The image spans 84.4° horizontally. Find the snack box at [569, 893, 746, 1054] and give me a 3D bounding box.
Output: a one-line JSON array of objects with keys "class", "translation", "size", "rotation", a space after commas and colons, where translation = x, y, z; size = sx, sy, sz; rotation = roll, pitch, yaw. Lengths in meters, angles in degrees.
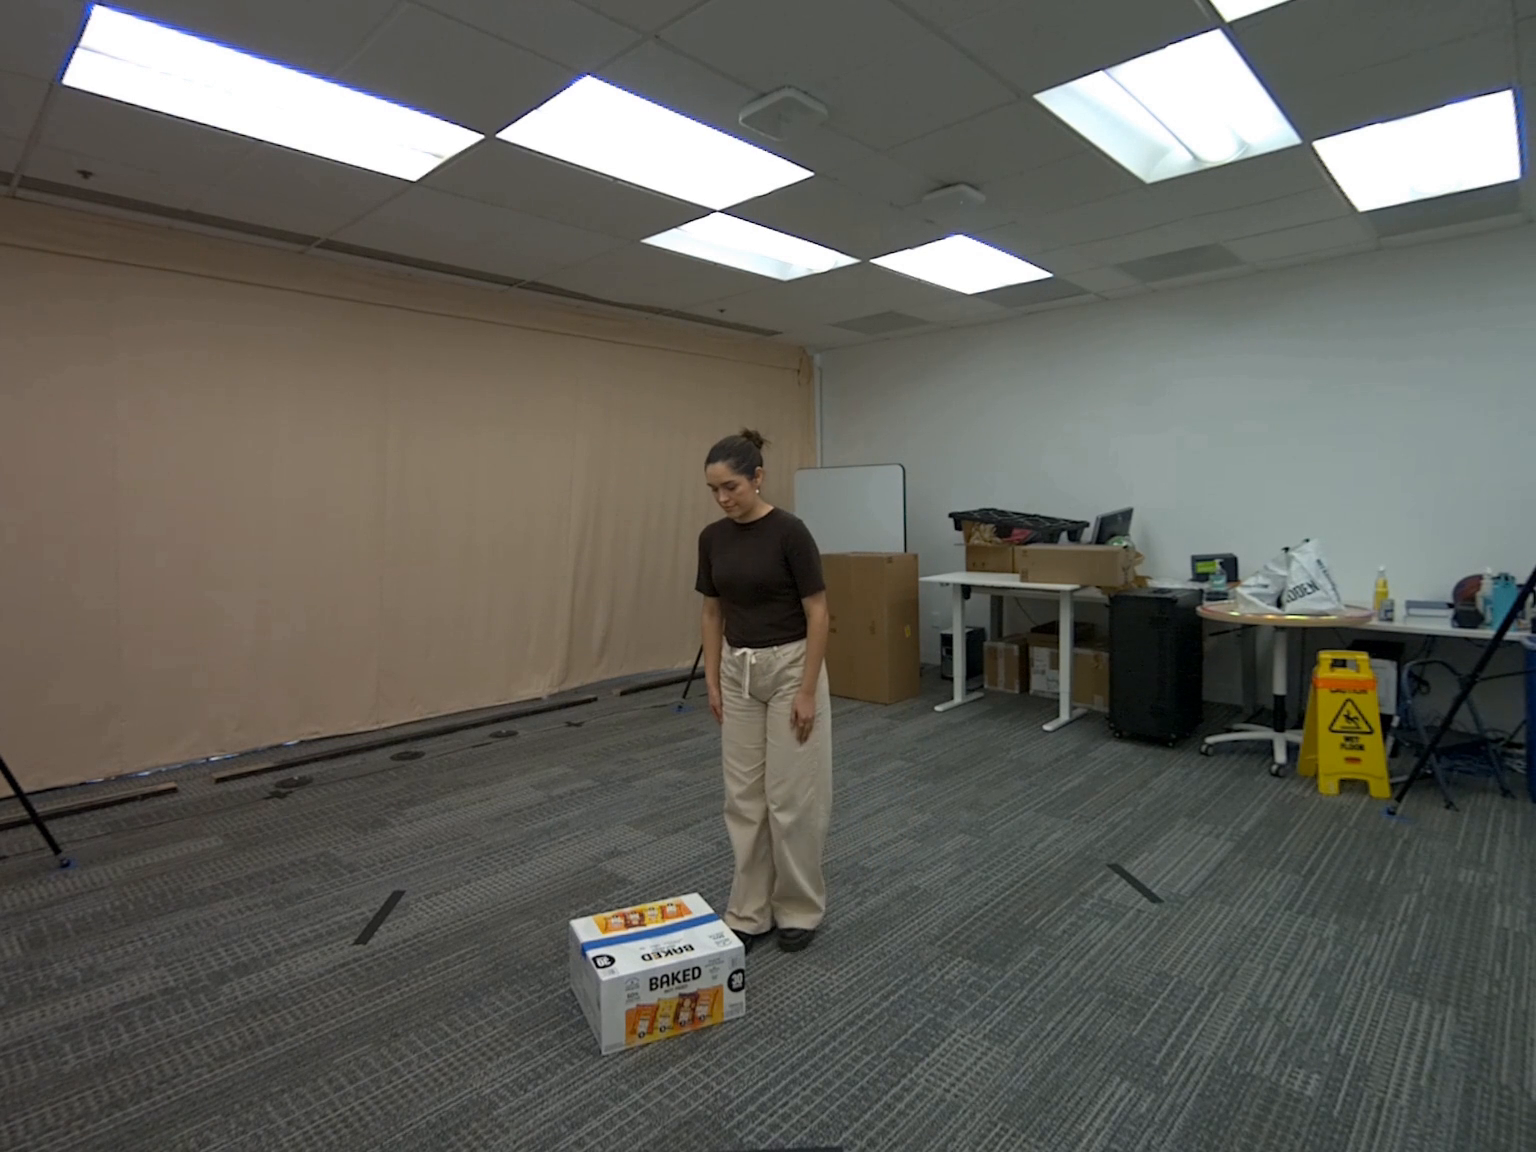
[{"class": "snack box", "translation": [-0.316, 1.101, 2.352], "size": [0.396, 0.205, 0.349], "rotation": [-3, 4, -25]}]
